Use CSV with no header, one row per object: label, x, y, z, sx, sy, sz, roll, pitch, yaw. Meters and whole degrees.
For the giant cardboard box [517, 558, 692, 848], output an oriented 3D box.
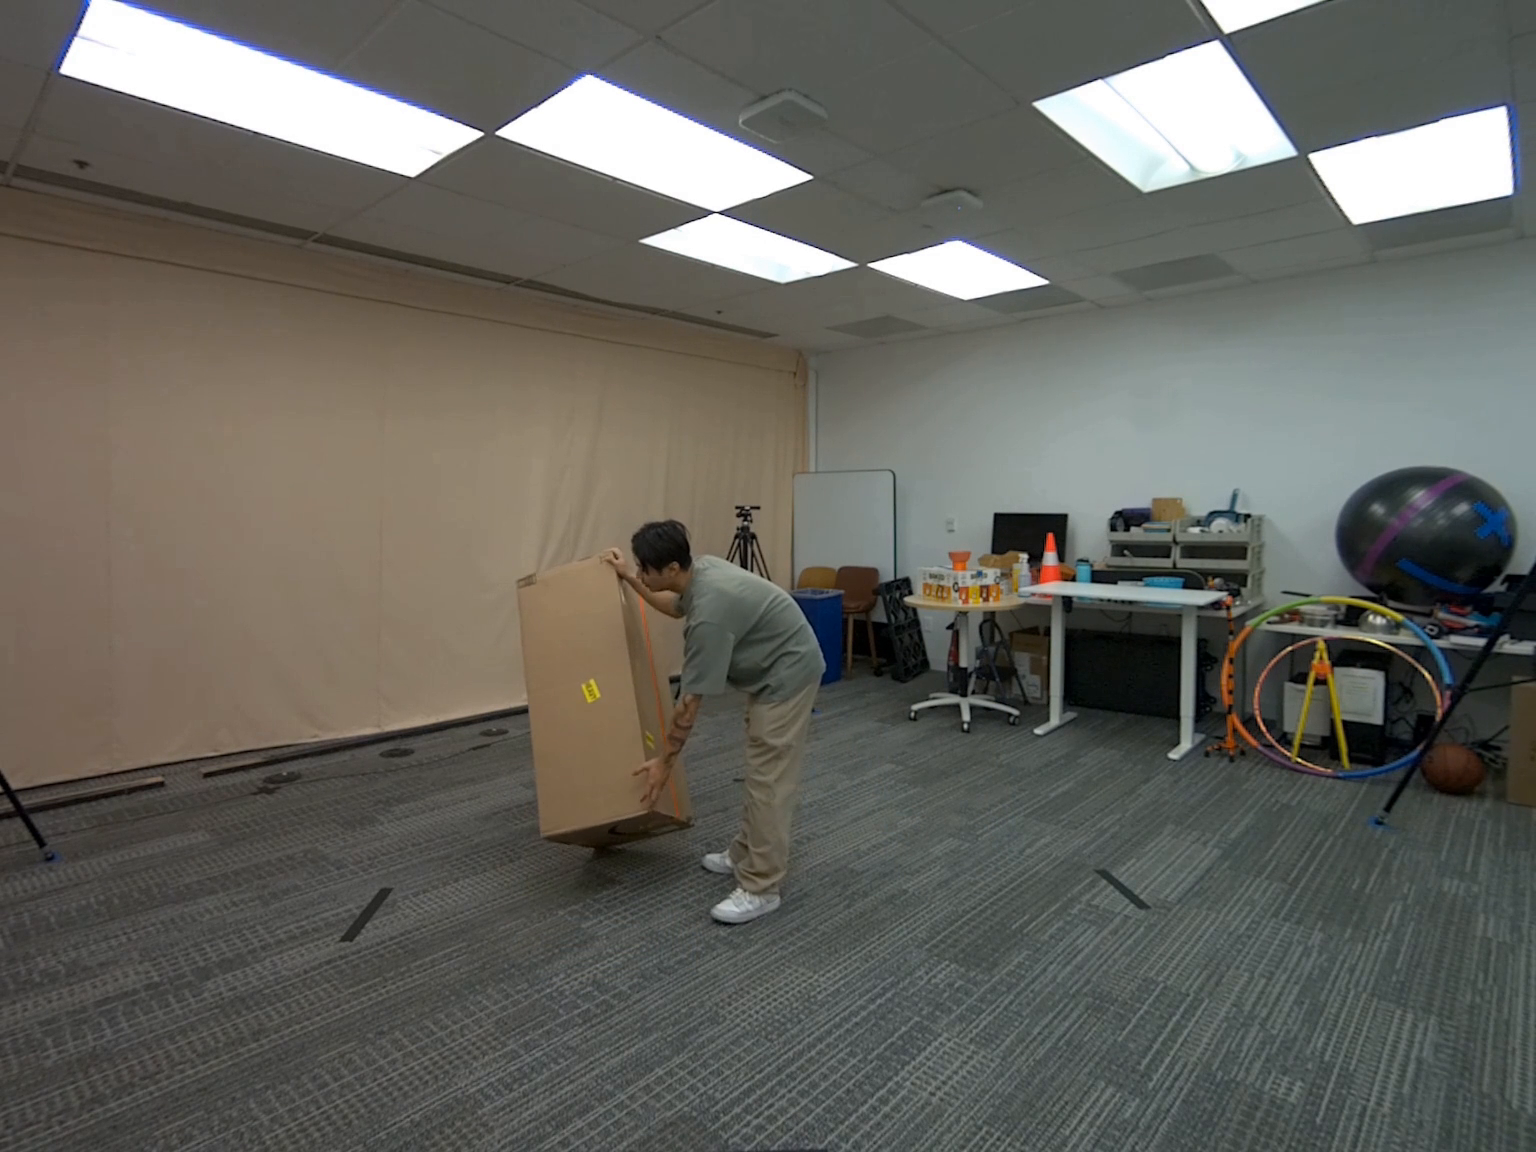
giant cardboard box,-0.659,0.512,3.399,0.428,1.046,0.563,-15,-25,4
